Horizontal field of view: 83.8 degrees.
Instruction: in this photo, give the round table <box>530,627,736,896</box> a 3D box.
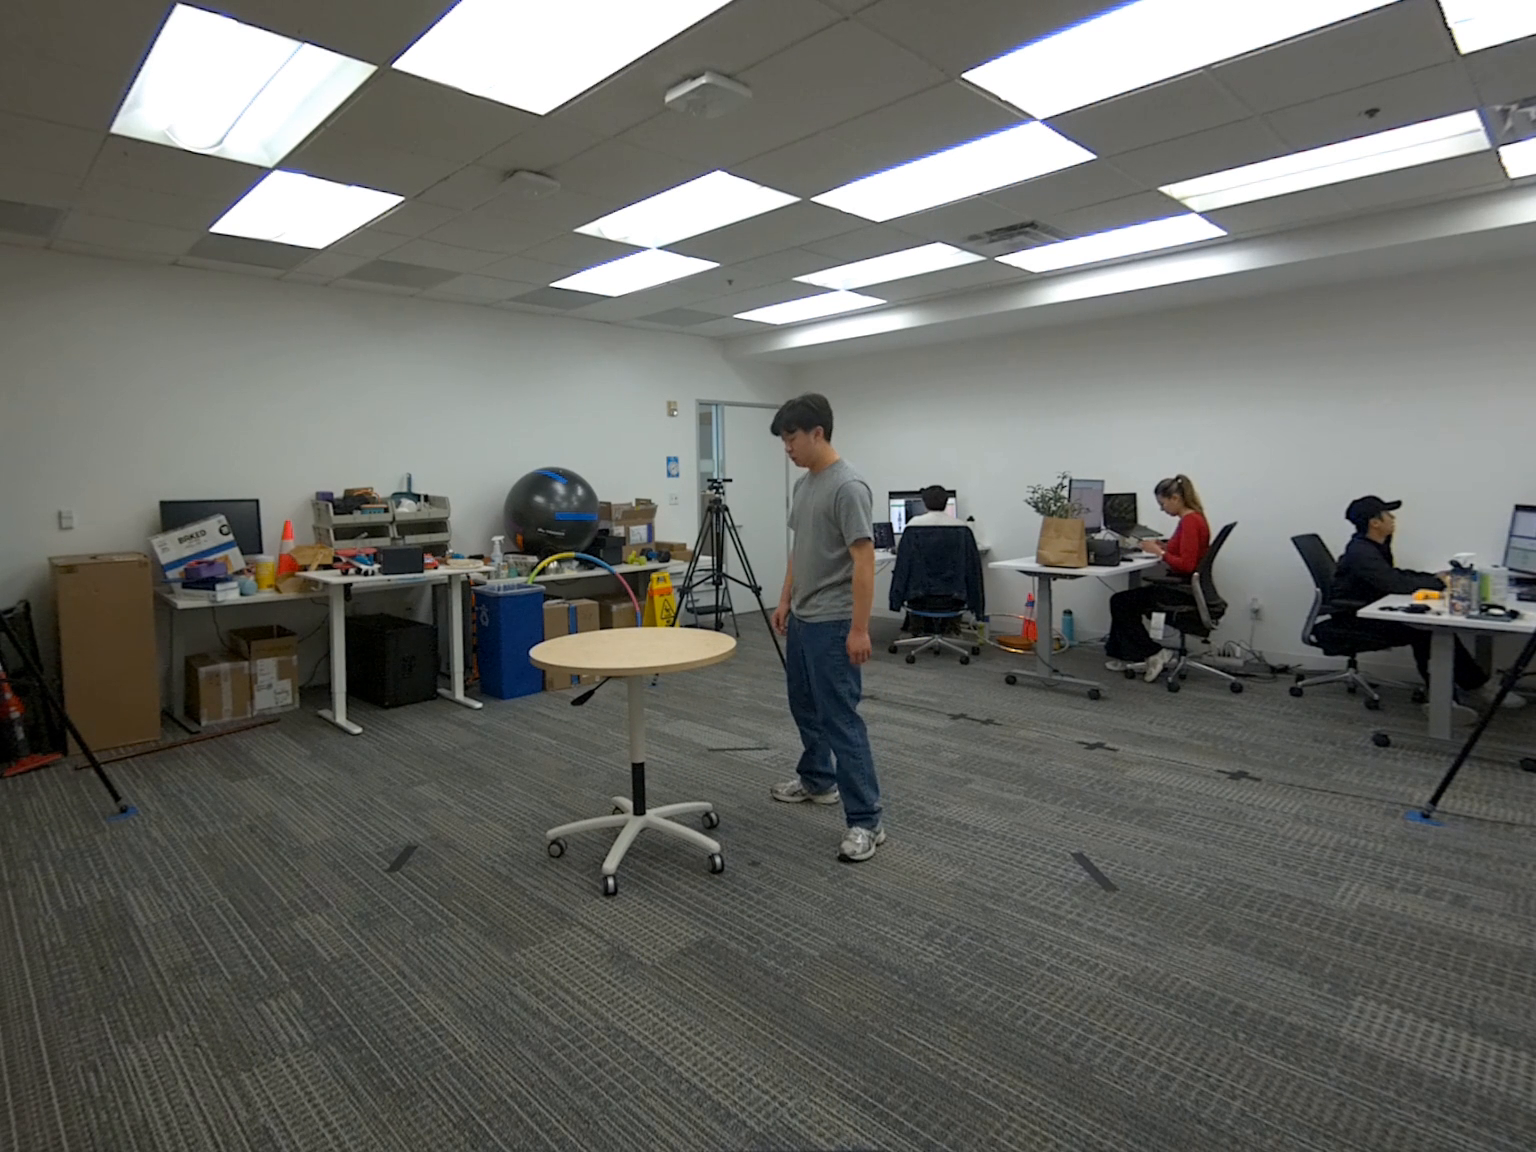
[{"bbox_3d":[-0.490,0.652,3.212,0.763,0.791,0.768,-1,5,-2],"label":"round table"}]
